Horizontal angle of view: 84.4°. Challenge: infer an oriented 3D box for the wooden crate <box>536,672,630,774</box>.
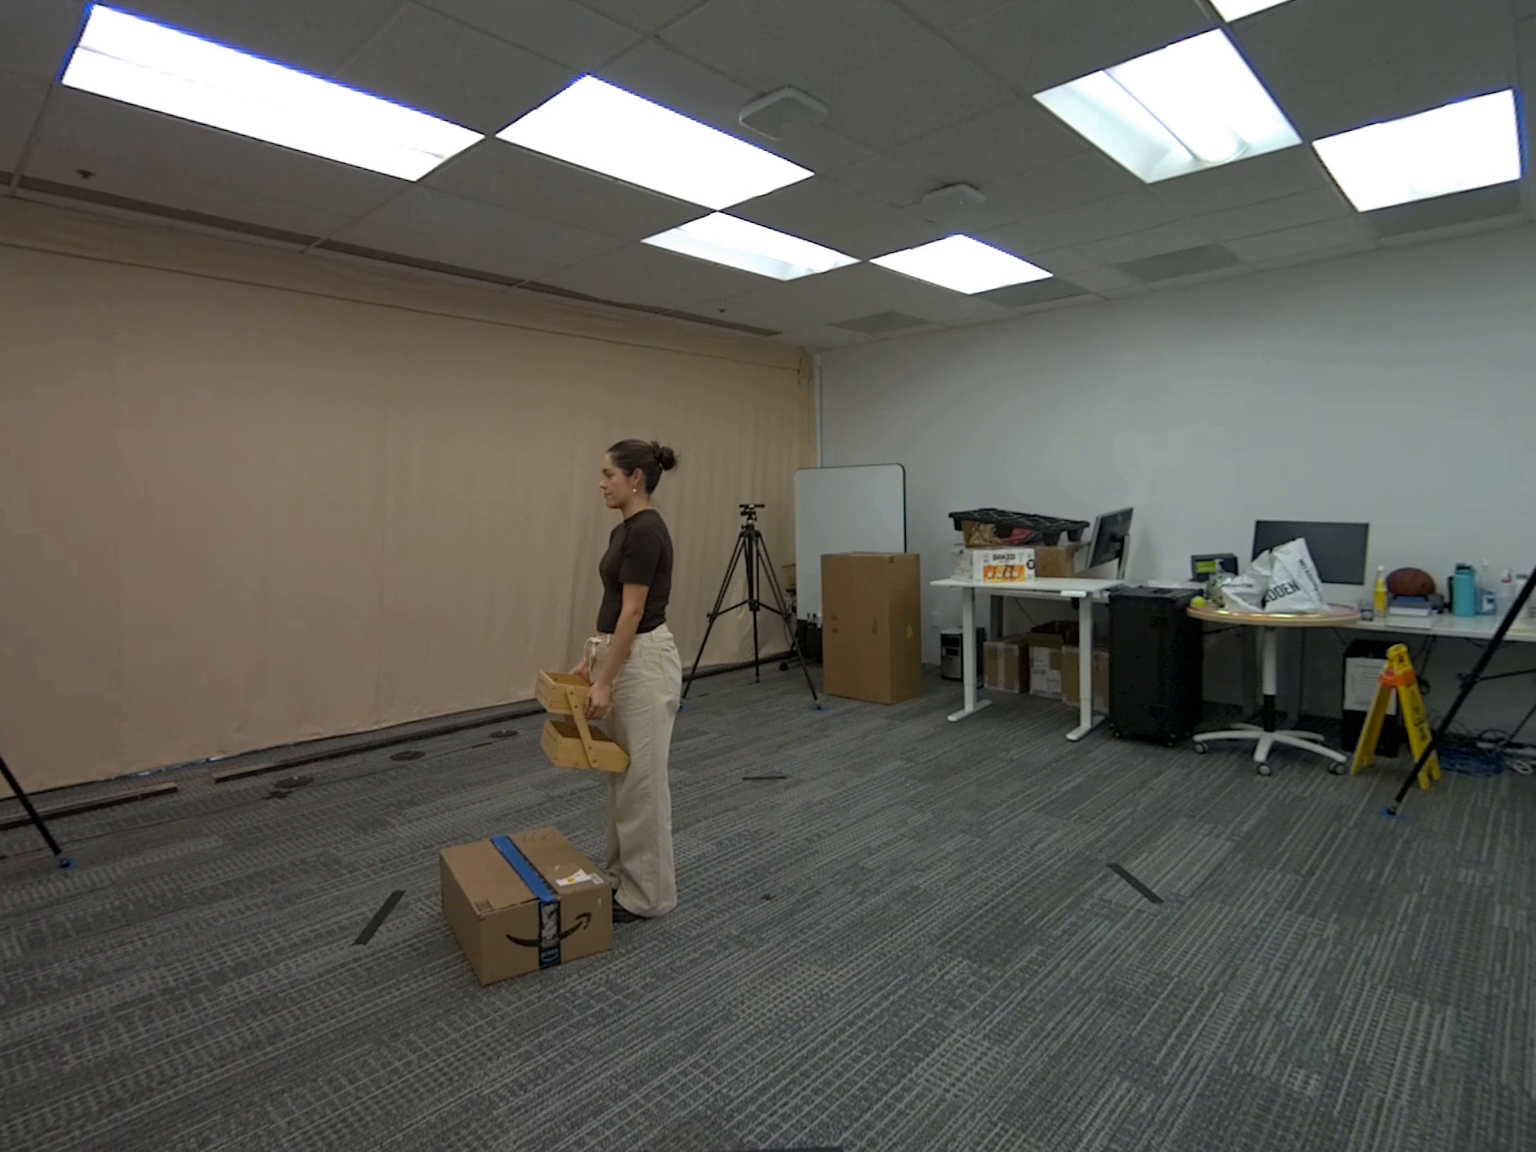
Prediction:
[{"bbox_3d":[-0.639,0.492,2.873,0.296,0.274,0.331,11,-3,-19],"label":"wooden crate"}]
